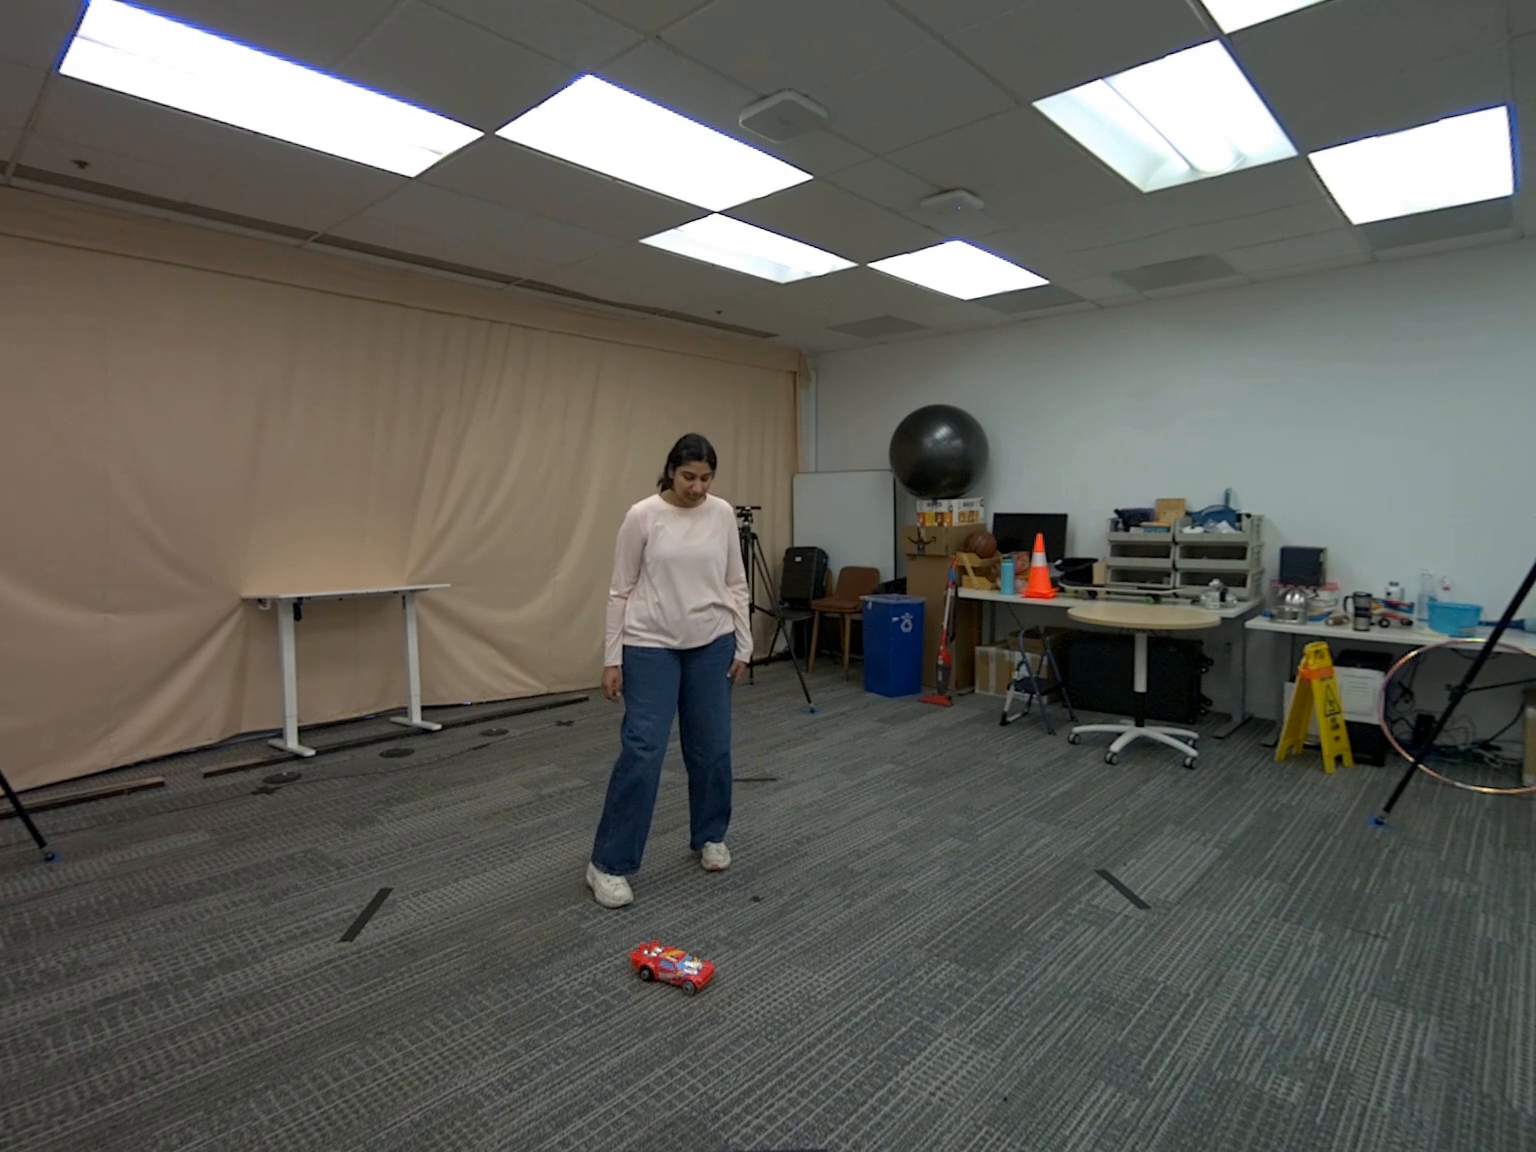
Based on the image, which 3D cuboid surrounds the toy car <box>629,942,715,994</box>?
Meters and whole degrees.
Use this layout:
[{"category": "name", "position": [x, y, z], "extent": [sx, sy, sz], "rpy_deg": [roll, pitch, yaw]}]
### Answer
[{"category": "toy car", "position": [-0.289, 1.150, 2.489], "extent": [0.262, 0.083, 0.127], "rpy_deg": [14, 12, 27]}]
